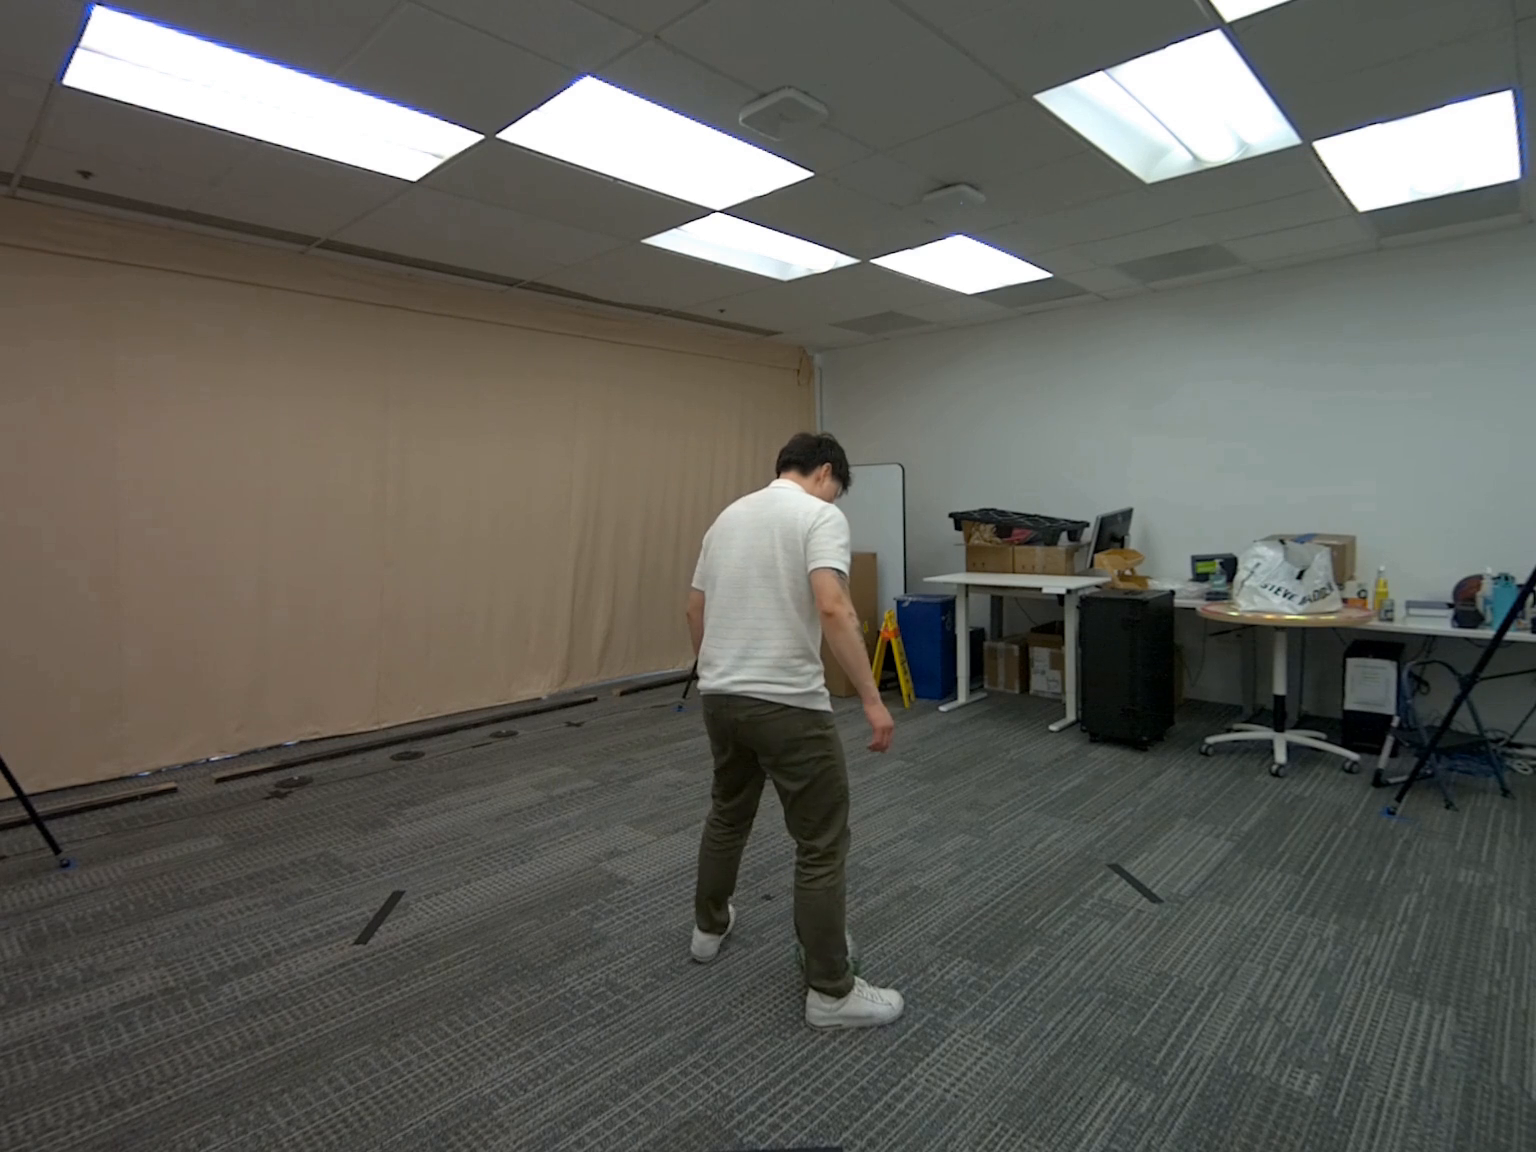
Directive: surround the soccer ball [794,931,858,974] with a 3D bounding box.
[{"bbox_3d":[0.181,1.097,2.423,0.187,0.187,0.188,-1,4,-2],"label":"soccer ball"}]
